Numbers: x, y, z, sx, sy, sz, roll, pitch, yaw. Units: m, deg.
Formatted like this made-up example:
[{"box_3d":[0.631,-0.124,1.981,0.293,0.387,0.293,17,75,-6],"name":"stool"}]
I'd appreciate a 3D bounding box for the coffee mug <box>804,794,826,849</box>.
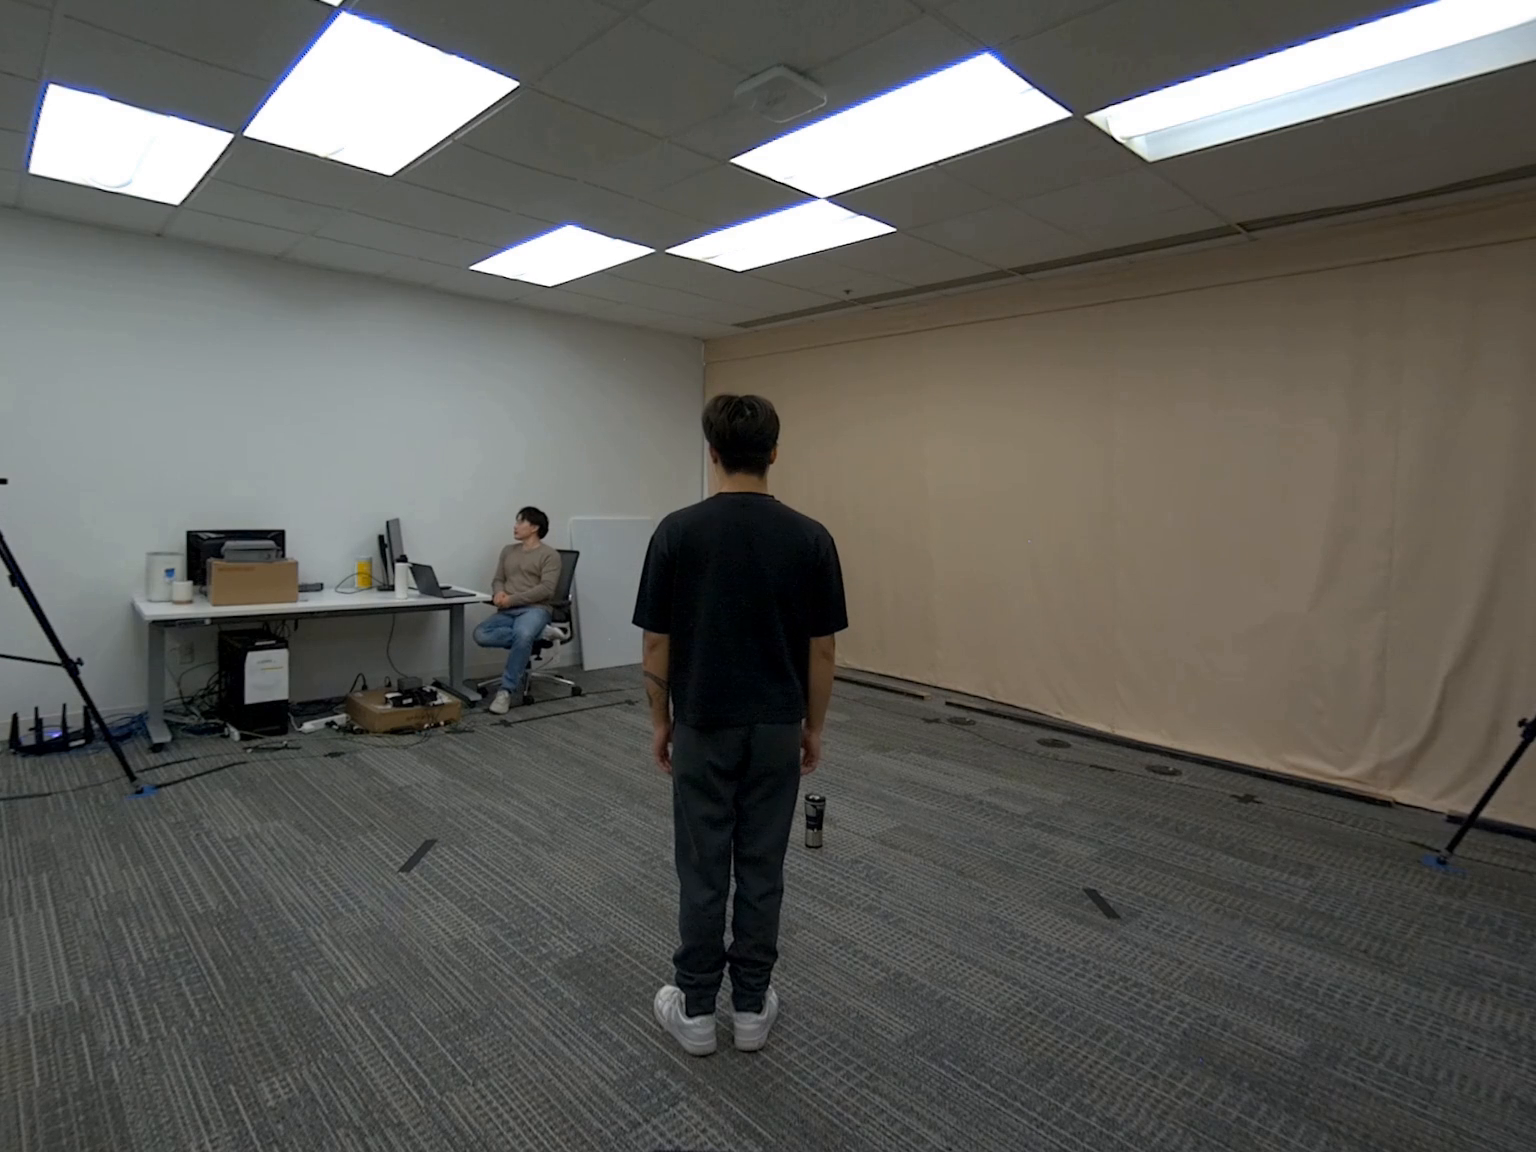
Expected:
[{"box_3d":[0.163,0.988,3.385,0.119,0.203,0.090,7,1,-41],"name":"coffee mug"}]
